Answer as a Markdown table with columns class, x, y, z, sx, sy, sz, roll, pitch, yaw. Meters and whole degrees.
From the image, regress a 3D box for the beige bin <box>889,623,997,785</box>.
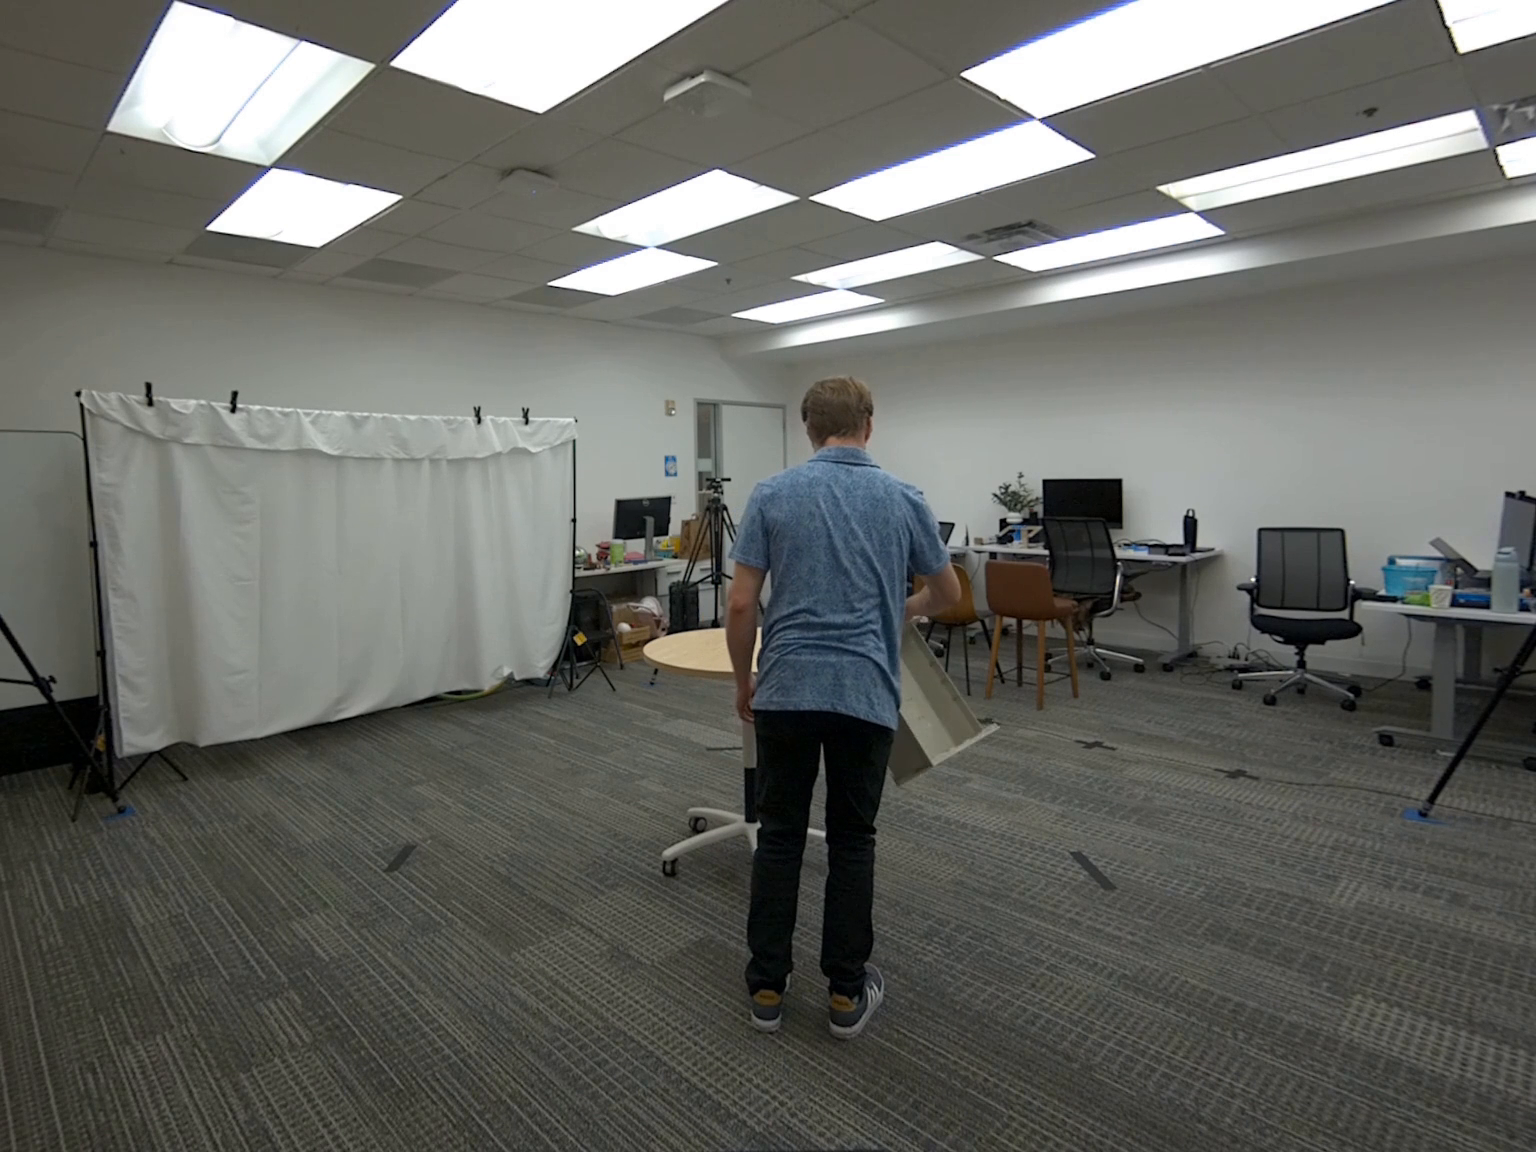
| class | x | y | z | sx | sy | sz | roll | pitch | yaw |
| --- | --- | --- | --- | --- | --- | --- | --- | --- | --- |
| beige bin | 0.446 | 0.357 | 2.592 | 0.369 | 0.433 | 0.188 | -15 | -26 | -39 |
